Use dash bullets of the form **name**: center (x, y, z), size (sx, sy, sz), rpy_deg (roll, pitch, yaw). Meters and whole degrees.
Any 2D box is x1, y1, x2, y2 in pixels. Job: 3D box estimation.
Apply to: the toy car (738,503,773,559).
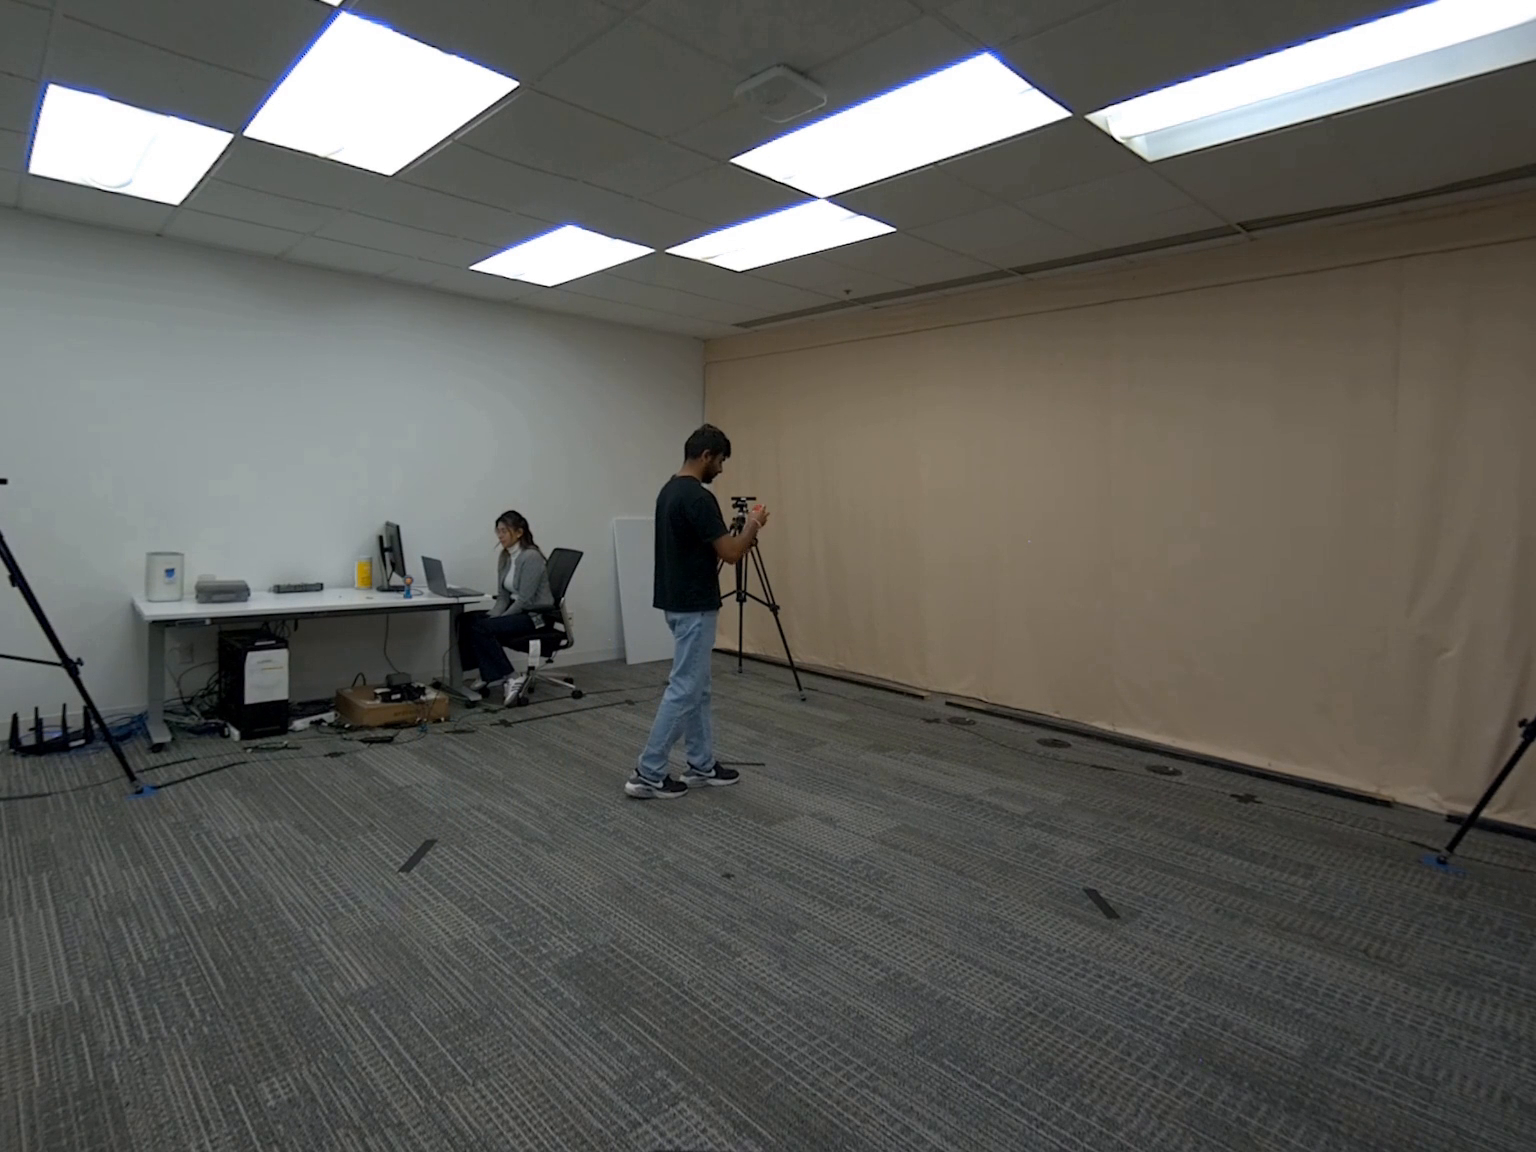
- **toy car**: center (-0.090, -0.218, 4.103), size (0.082, 0.255, 0.132), rpy_deg (27, -7, -14)
